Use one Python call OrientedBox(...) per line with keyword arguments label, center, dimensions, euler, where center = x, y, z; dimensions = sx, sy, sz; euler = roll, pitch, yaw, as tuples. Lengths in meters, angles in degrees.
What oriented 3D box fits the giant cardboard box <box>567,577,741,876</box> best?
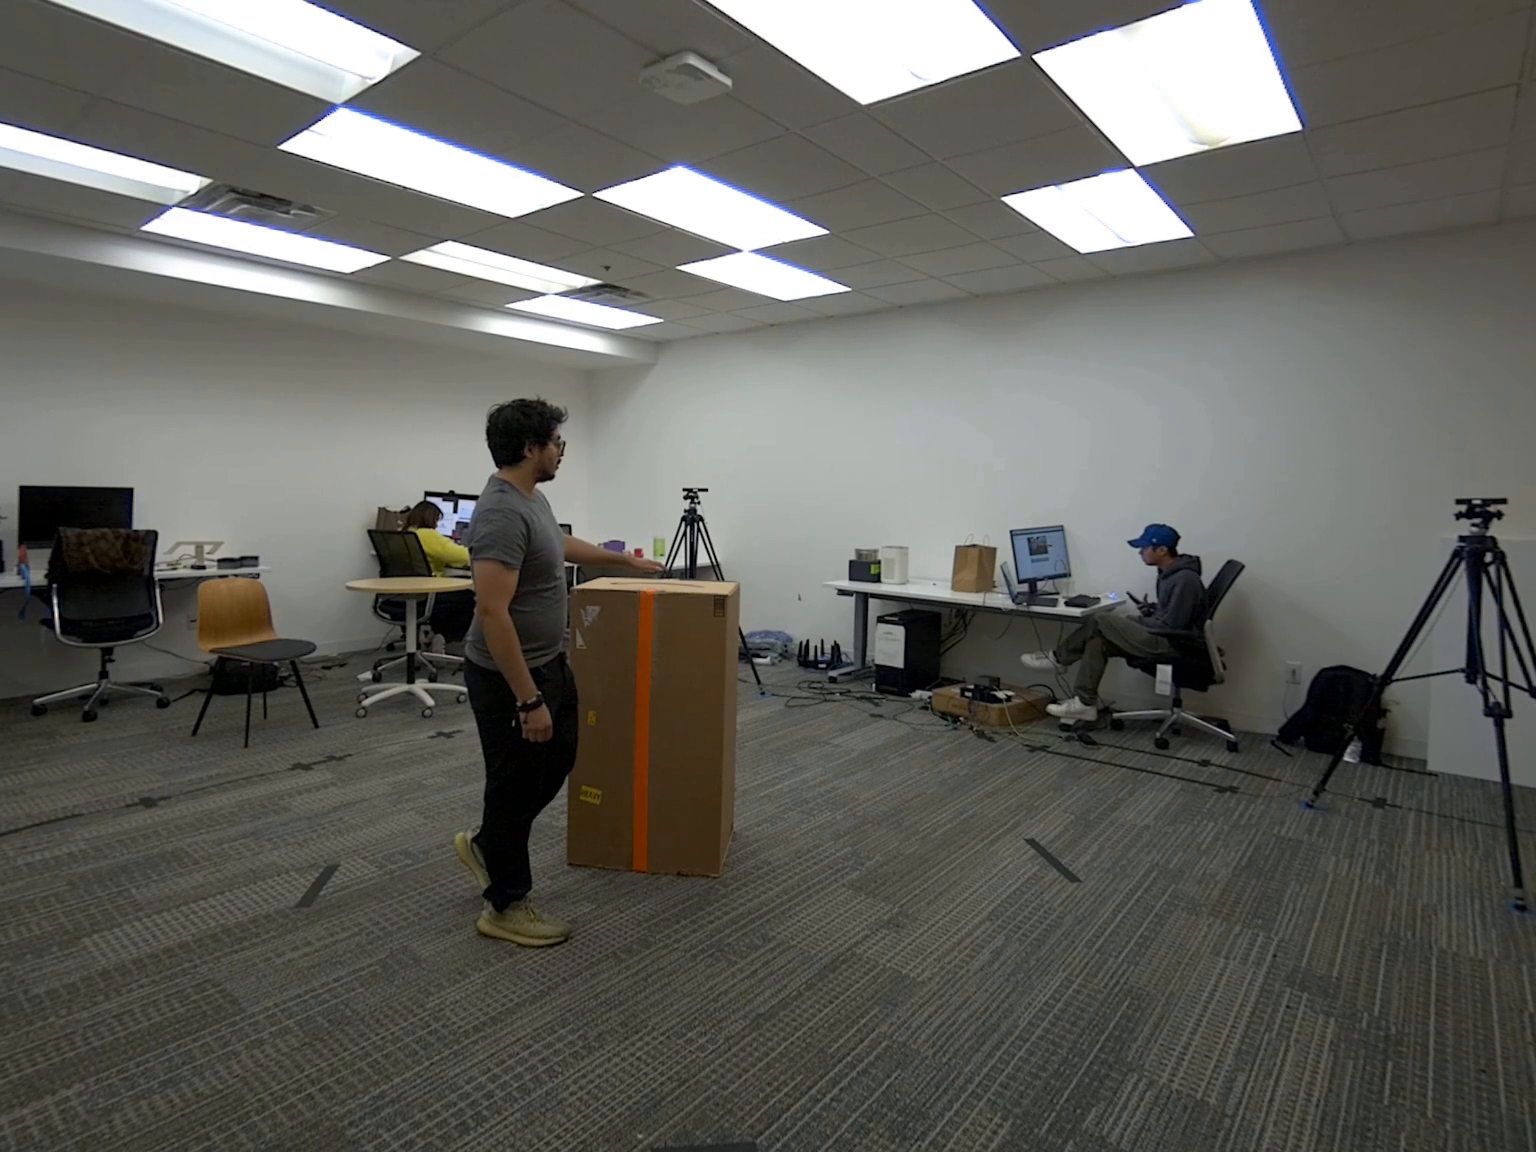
OrientedBox(label="giant cardboard box", center=(-0.435, 0.539, 3.261), dimensions=(0.583, 1.023, 0.423), euler=(2, 3, 7))
